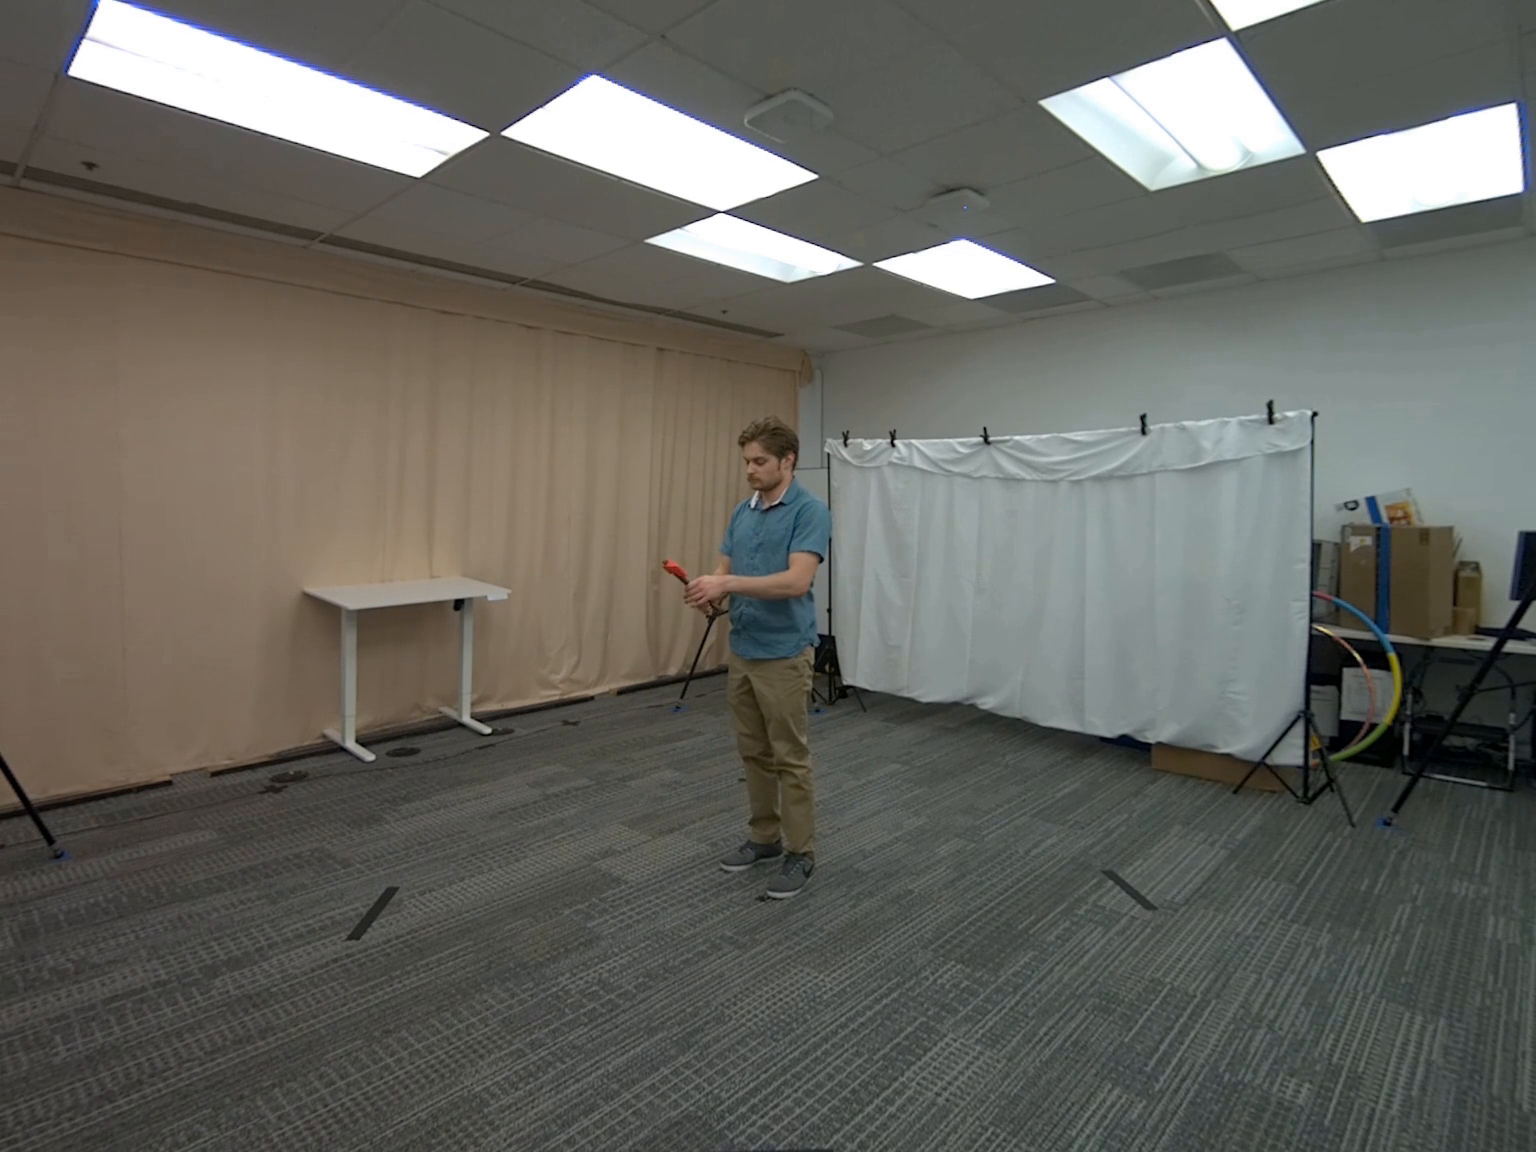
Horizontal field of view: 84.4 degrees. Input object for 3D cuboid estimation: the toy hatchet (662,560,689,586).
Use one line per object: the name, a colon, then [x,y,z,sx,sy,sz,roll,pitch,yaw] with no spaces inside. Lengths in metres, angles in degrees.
toy hatchet: [-0.246,0.029,2.870,0.269,0.029,0.132,37,-22,-3]
